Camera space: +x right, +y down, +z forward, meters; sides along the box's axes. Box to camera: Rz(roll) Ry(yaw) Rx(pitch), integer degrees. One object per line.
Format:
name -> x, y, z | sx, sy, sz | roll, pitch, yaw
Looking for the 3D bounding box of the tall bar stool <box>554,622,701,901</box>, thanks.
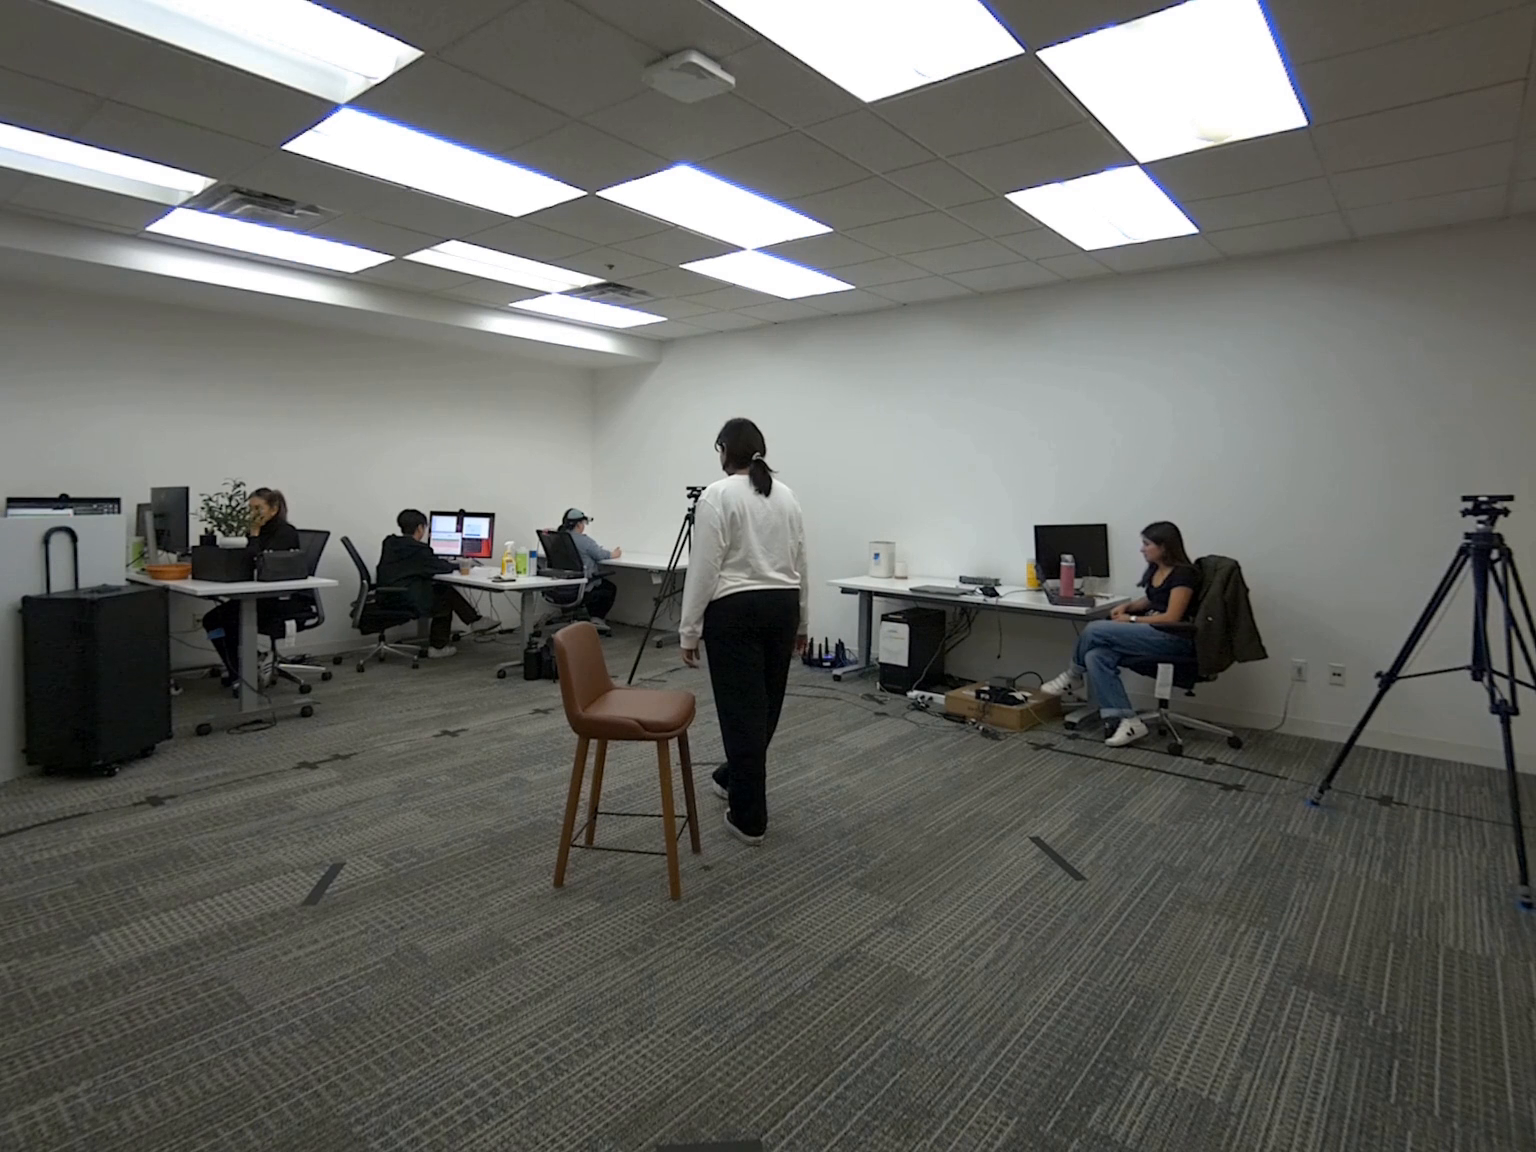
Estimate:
tall bar stool -> -0.503, 0.630, 3.066 | 0.472, 0.887, 0.453 | 0, 3, 9
